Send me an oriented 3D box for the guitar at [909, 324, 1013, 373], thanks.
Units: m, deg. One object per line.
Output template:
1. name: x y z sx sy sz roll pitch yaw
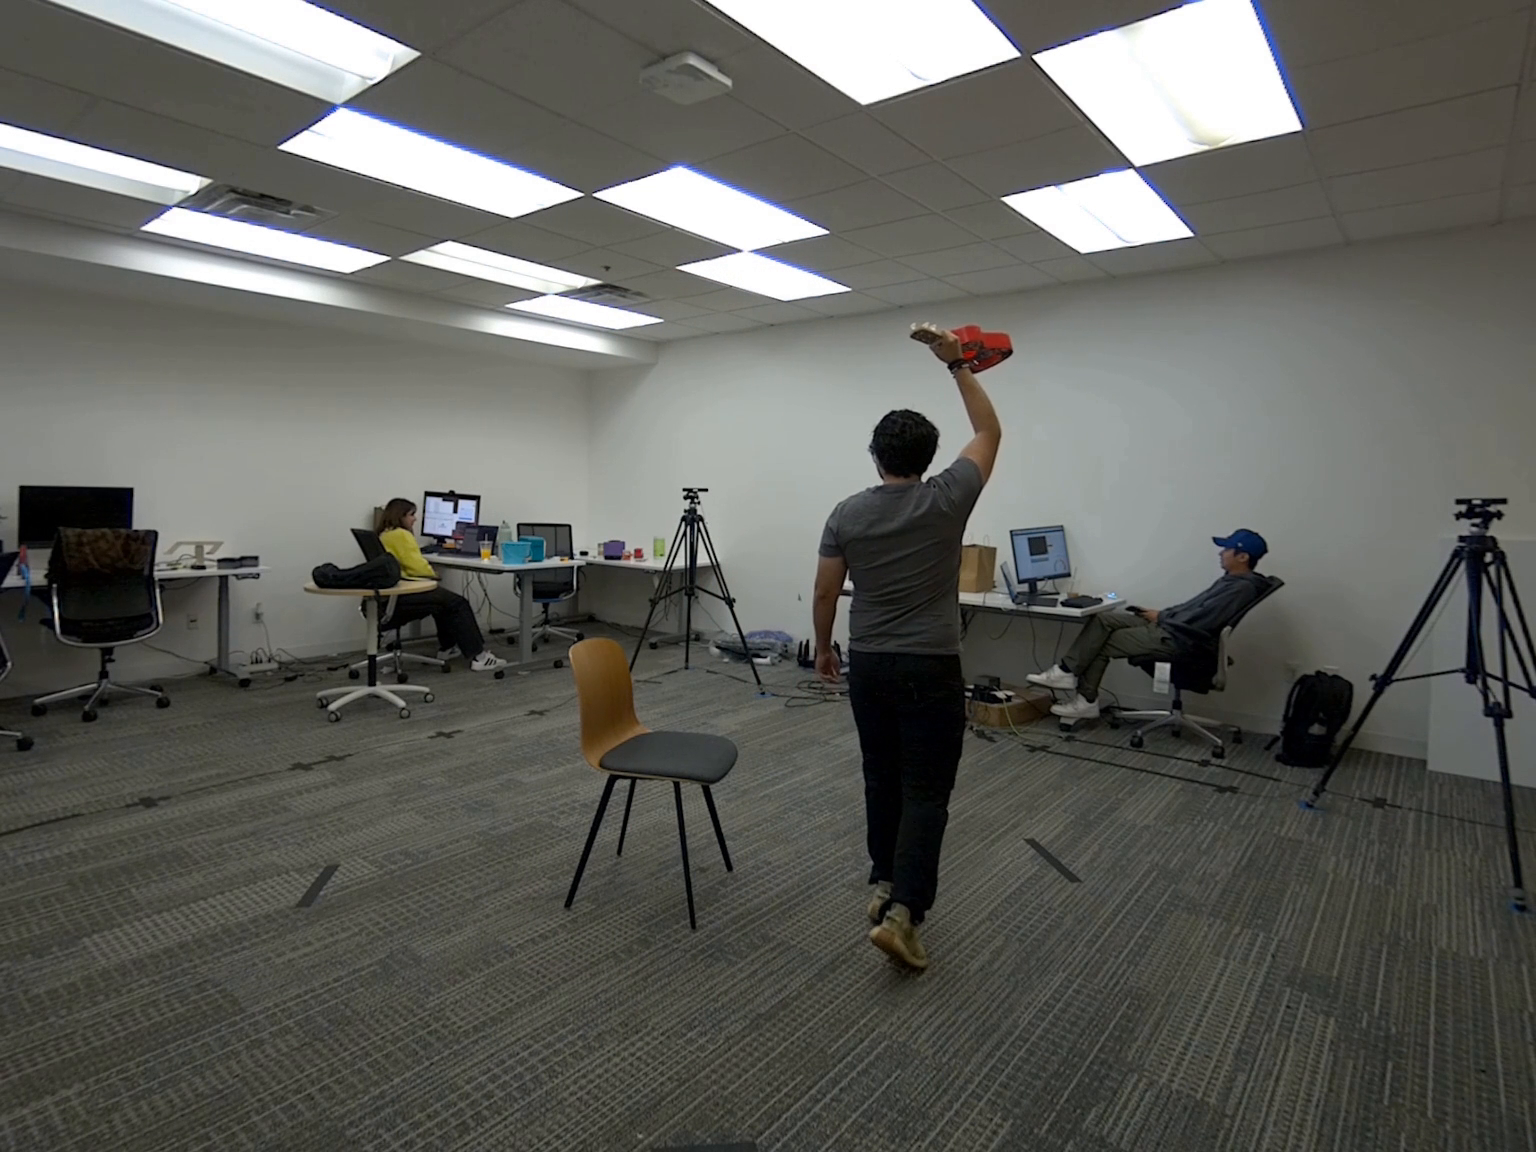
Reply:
1. guitar: 0.638 -0.777 2.780 0.196 0.072 0.480 -18 -16 34
